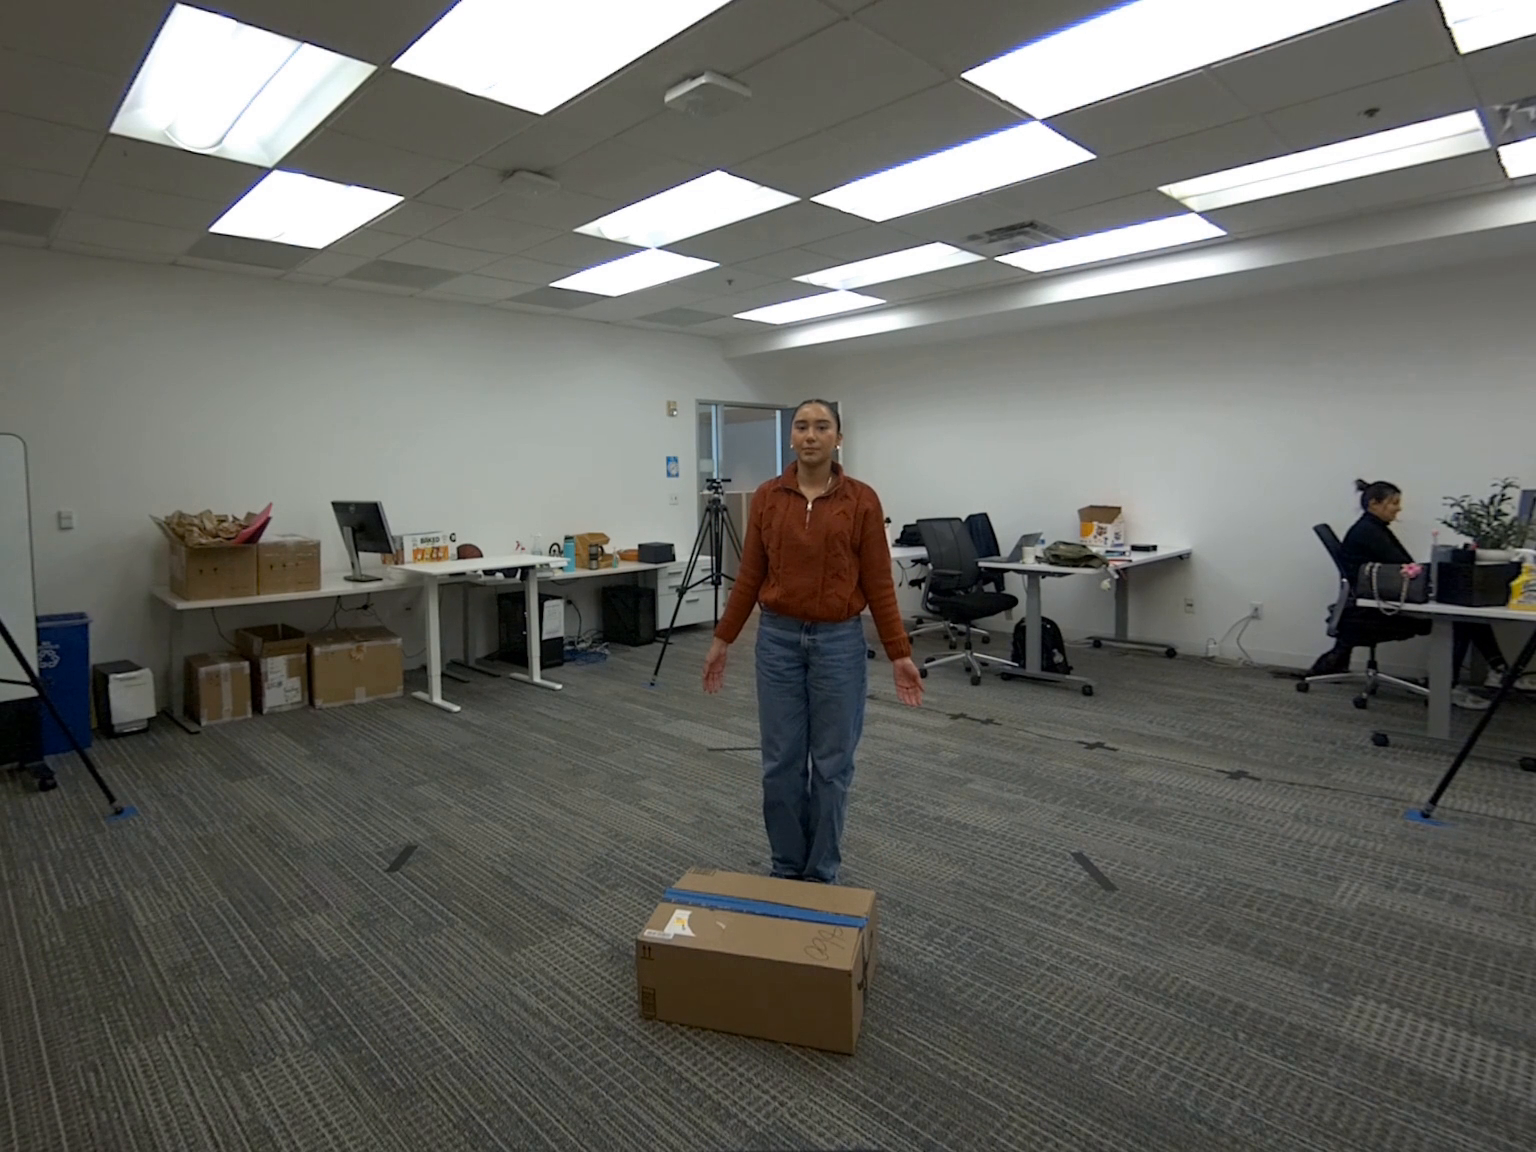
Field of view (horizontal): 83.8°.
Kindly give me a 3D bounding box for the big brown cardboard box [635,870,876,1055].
[{"bbox_3d":[-0.015,1.019,2.336,0.598,0.232,0.413,1,6,16],"label":"big brown cardboard box"}]
